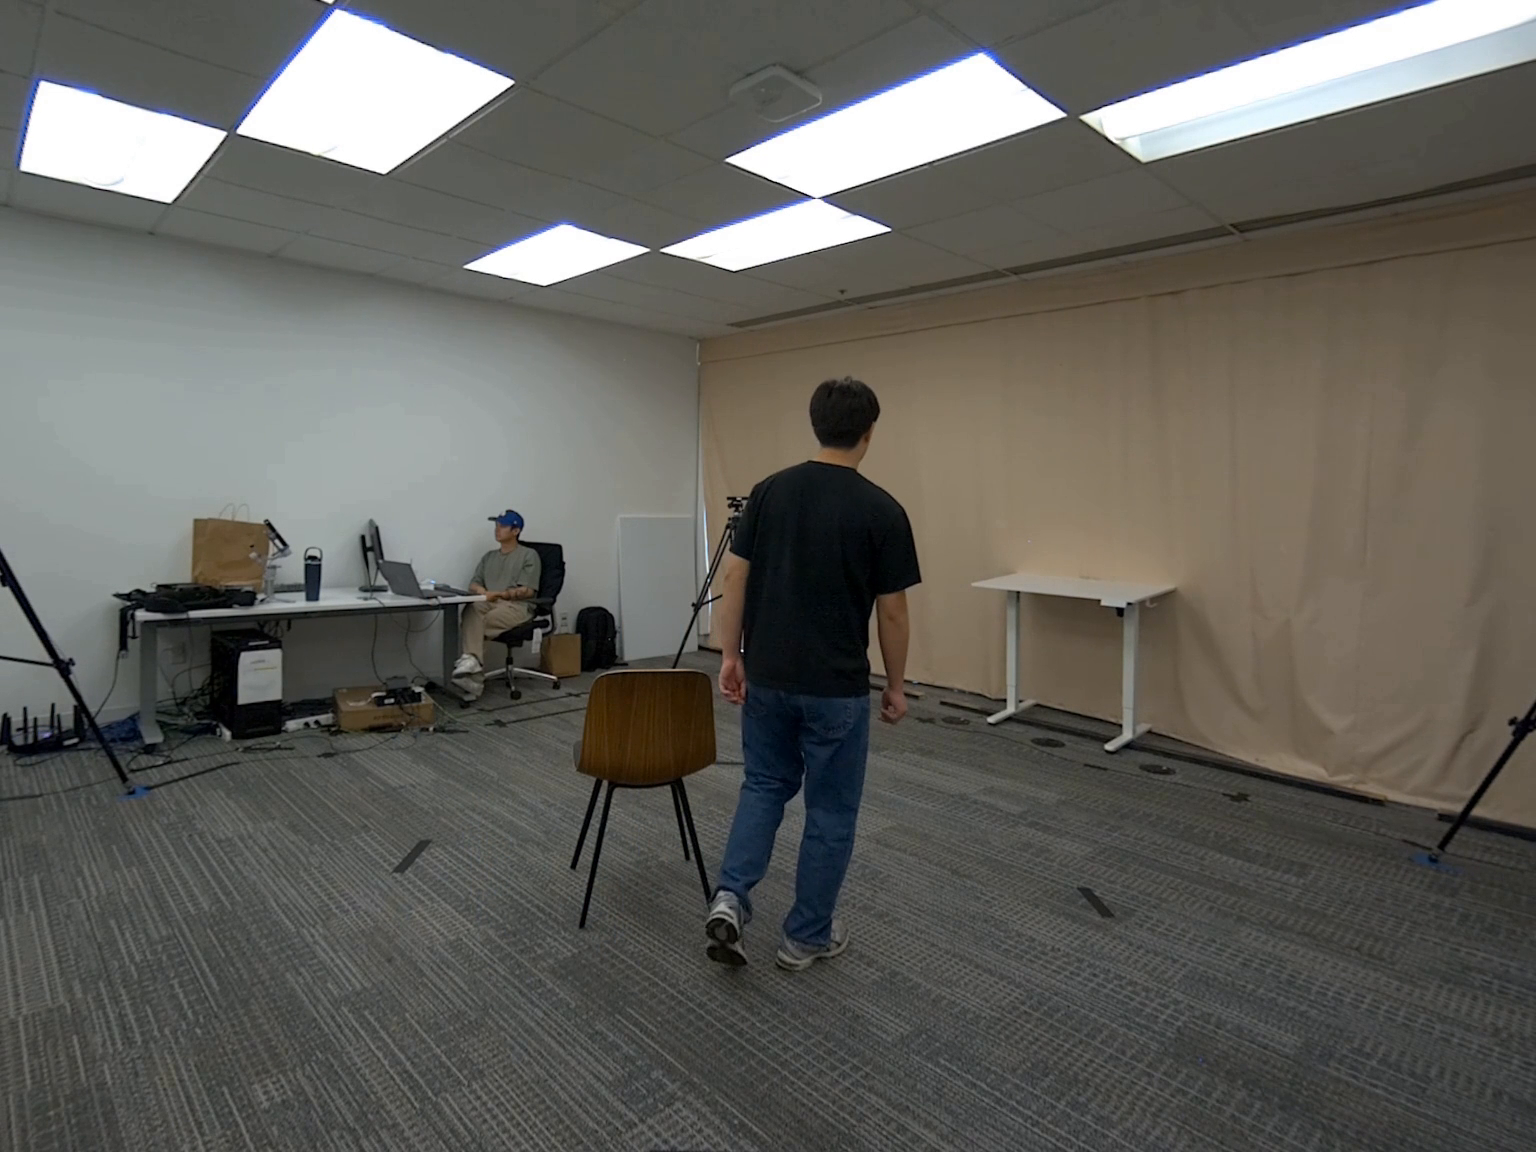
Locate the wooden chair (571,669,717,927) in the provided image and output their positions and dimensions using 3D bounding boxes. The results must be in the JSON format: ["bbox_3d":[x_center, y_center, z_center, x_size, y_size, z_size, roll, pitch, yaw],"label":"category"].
[{"bbox_3d":[-0.444,0.690,2.942,0.472,0.873,0.532,0,8,-16],"label":"wooden chair"}]
